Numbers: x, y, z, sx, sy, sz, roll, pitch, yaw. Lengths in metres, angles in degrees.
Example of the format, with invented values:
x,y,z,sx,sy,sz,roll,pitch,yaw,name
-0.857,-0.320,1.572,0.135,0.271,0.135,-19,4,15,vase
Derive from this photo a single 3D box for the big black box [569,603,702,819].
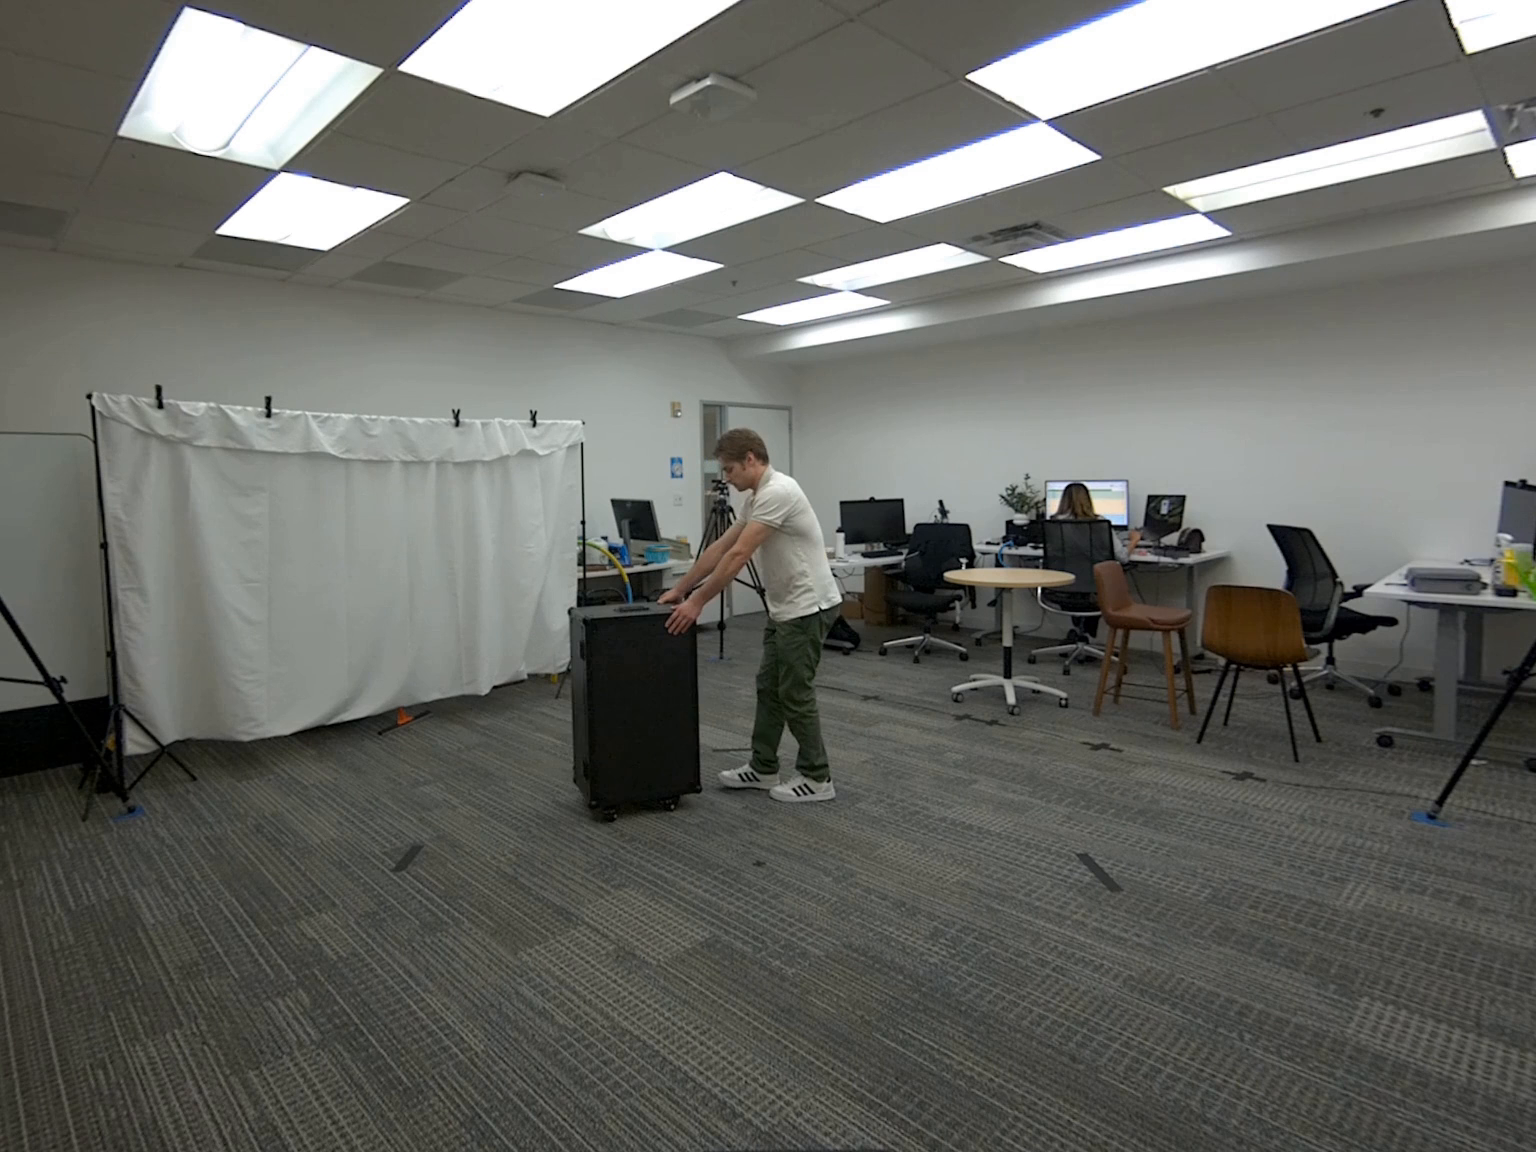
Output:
x,y,z,sx,sy,sz,roll,pitch,yaw,name
-0.592,0.569,3.701,0.513,0.866,0.394,-3,3,-22,big black box
